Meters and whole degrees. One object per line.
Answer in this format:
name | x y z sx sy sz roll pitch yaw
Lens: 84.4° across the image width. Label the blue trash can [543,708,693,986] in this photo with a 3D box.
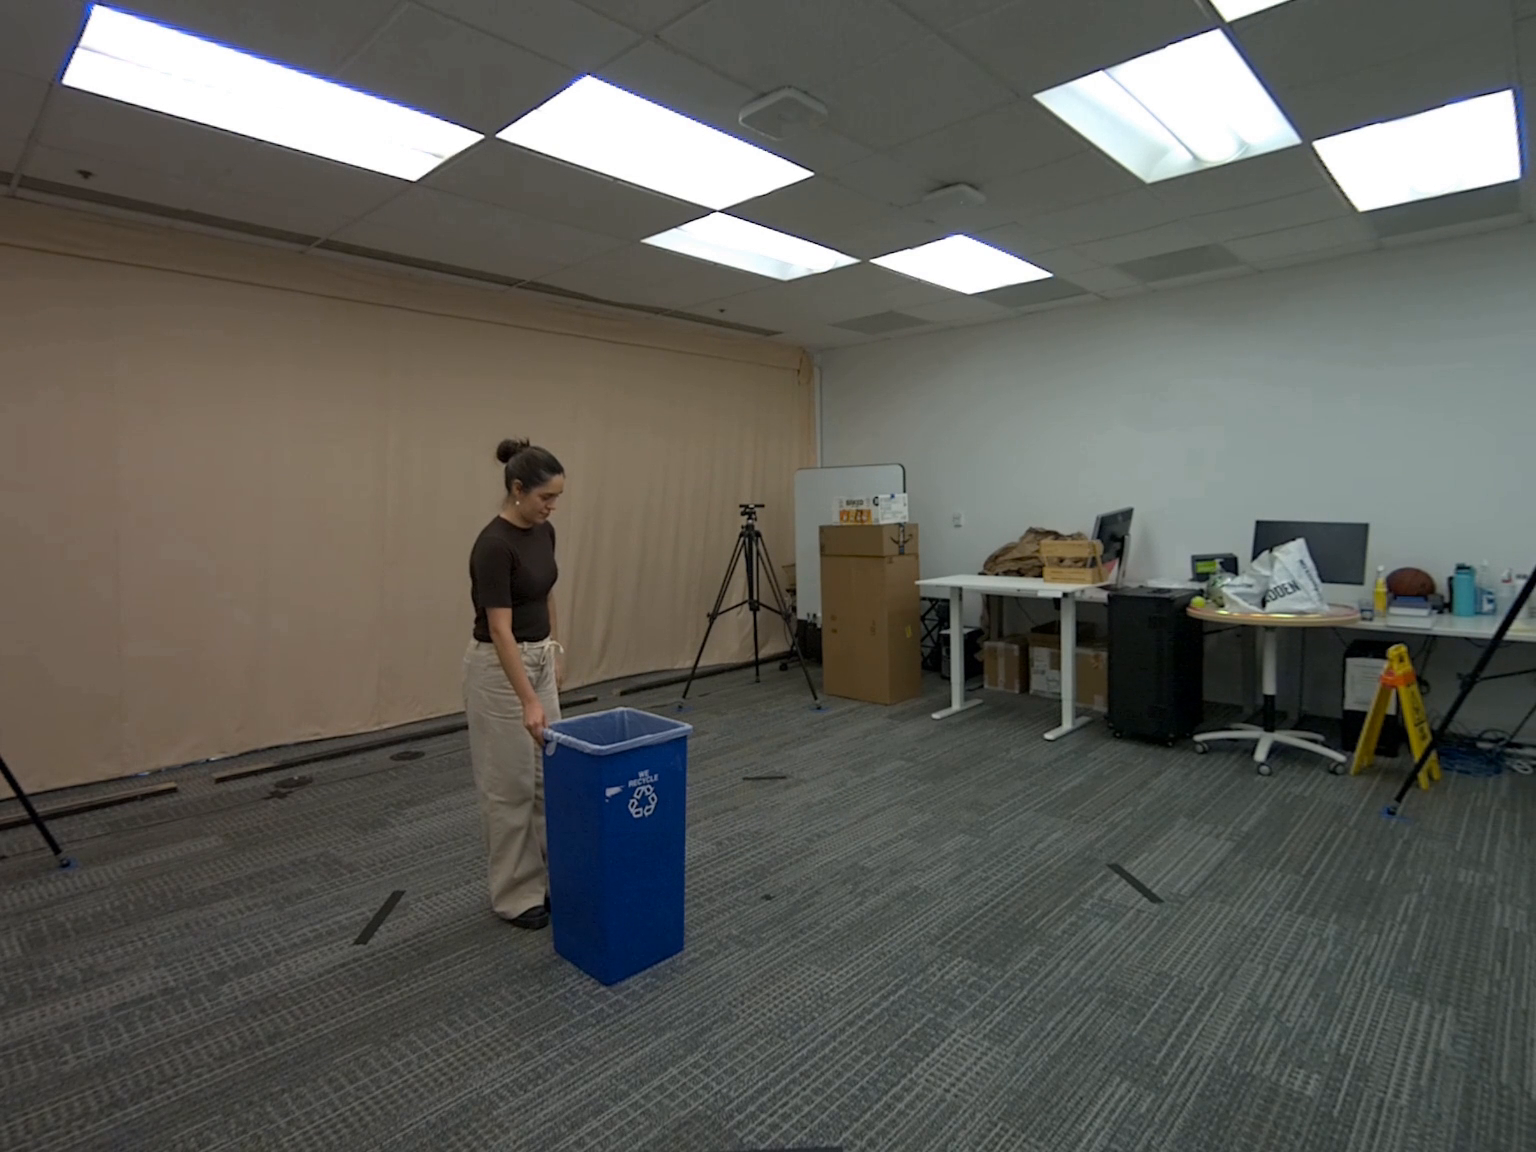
blue trash can | -0.465 0.821 2.629 0.366 0.712 0.386 -4 4 -44
